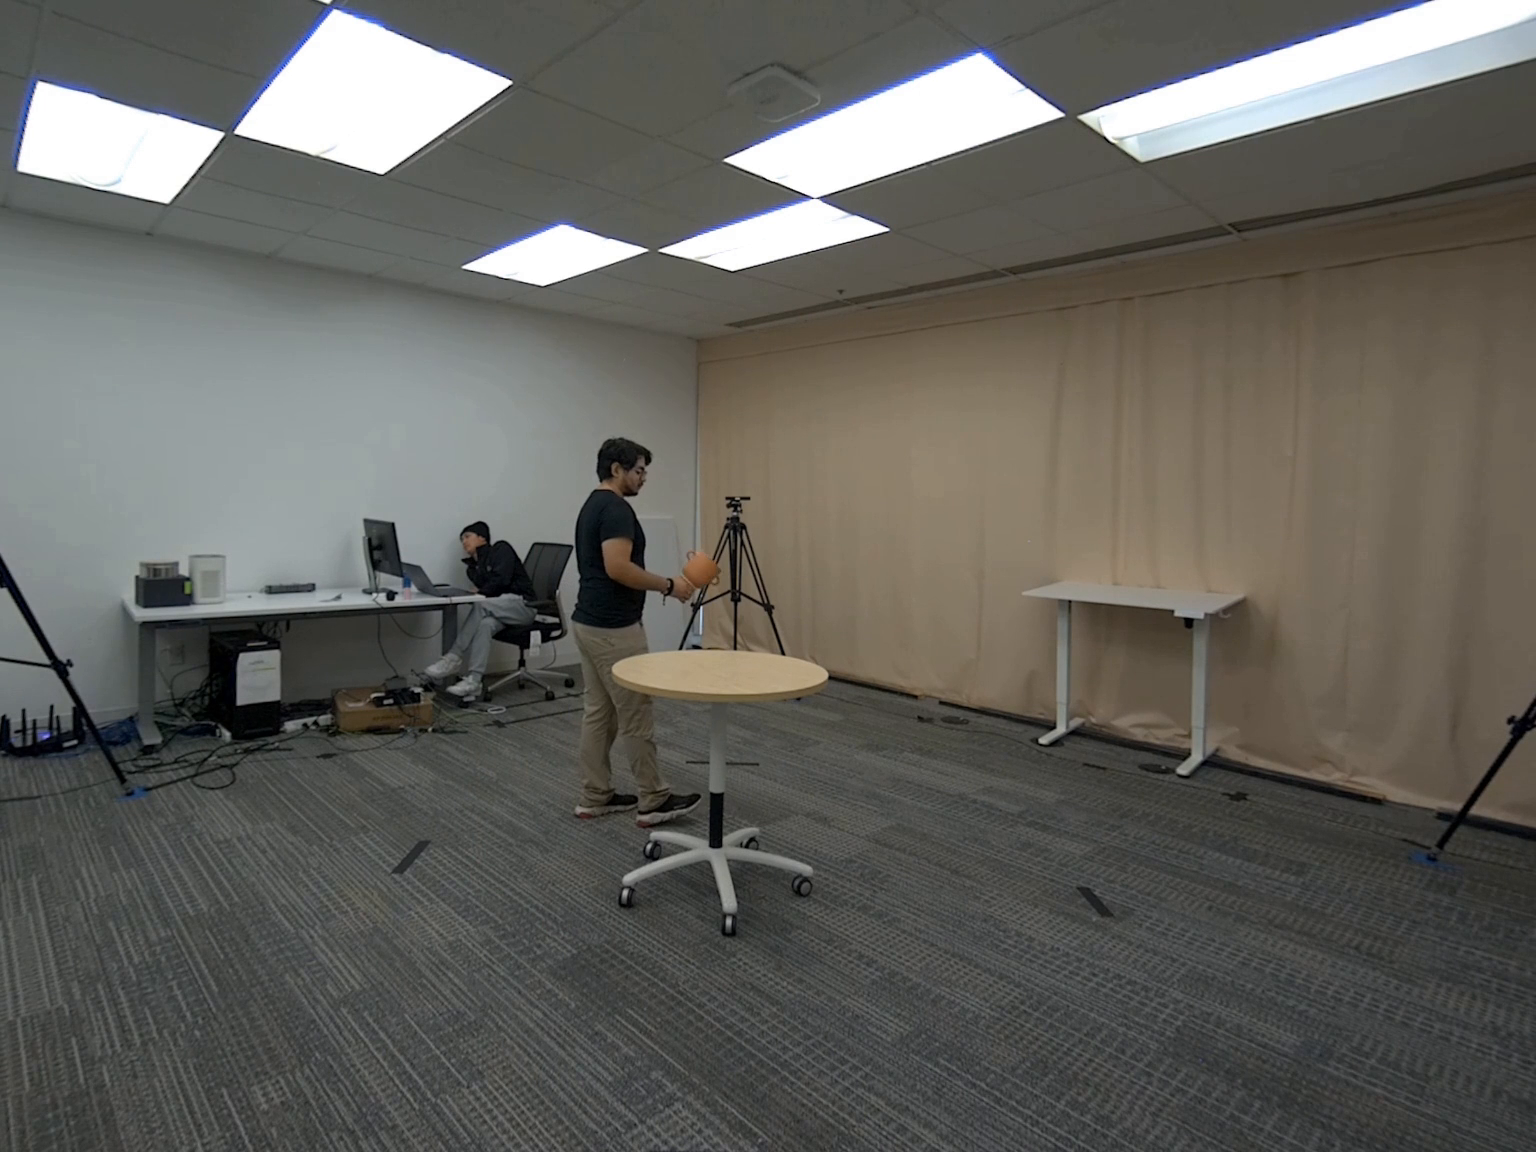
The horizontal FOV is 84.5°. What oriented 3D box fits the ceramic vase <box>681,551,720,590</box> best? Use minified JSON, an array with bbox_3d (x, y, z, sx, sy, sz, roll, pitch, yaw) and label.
[{"bbox_3d":[-0.325,0.006,3.638,0.163,0.220,0.131,43,-5,27],"label":"ceramic vase"}]
